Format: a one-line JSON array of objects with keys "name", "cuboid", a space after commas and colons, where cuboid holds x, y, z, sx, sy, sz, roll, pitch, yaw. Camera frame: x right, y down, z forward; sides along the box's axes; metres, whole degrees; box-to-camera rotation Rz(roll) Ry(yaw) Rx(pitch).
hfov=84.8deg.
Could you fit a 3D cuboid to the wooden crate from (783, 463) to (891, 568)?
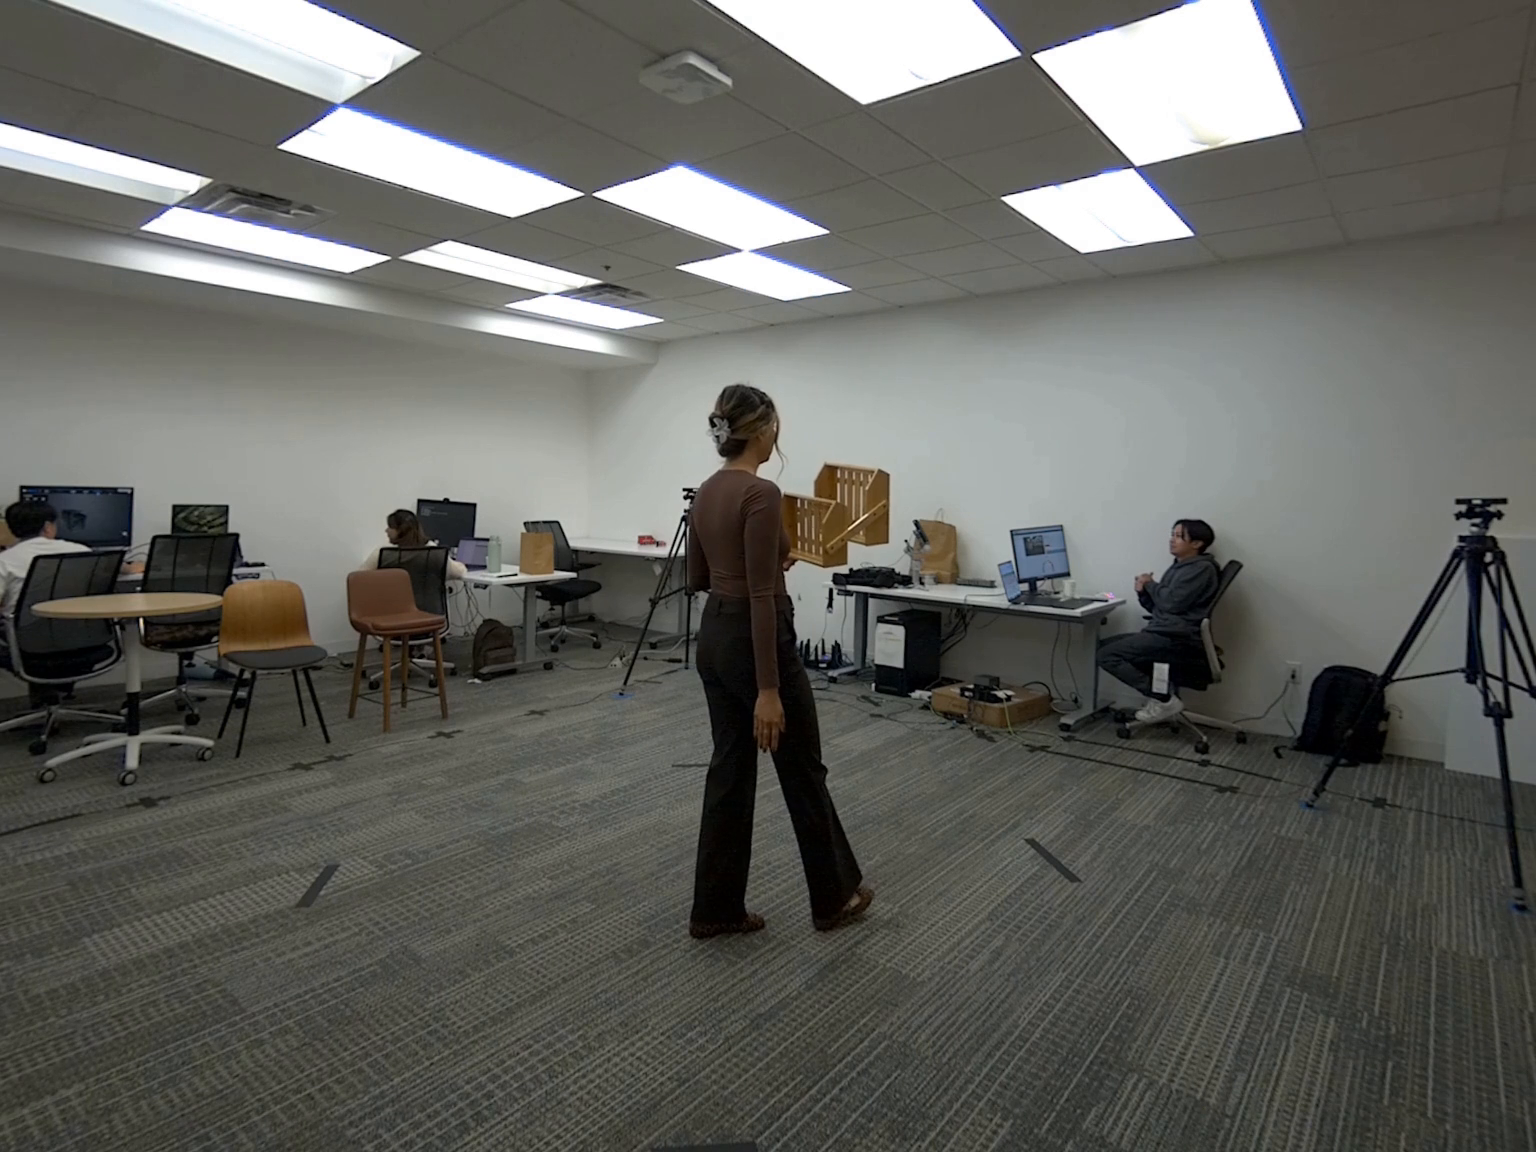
[{"name": "wooden crate", "cuboid": [0.191, -0.219, 2.850, 0.267, 0.299, 0.336, -7, 13, -29]}]
